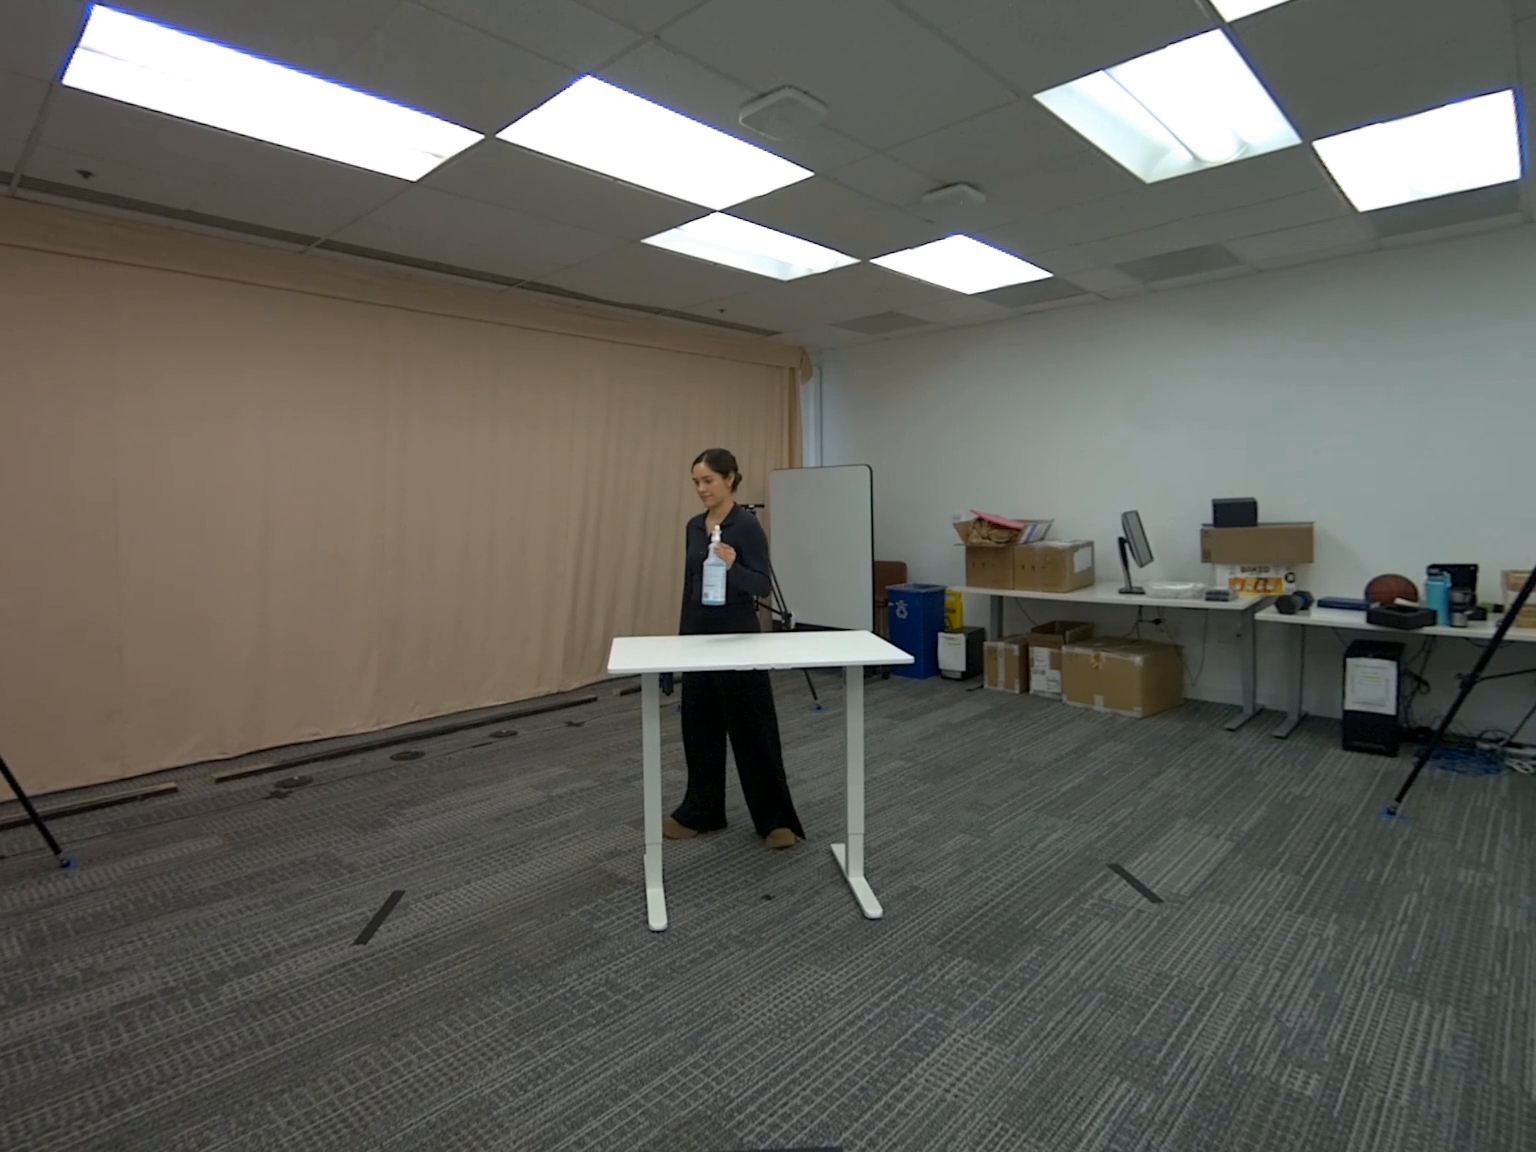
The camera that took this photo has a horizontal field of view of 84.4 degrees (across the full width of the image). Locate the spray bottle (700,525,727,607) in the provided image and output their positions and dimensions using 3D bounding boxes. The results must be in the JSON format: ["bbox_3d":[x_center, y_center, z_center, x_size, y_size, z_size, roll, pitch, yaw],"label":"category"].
[{"bbox_3d":[-0.201,-0.040,3.190,0.089,0.297,0.088,1,0,18],"label":"spray bottle"}]
